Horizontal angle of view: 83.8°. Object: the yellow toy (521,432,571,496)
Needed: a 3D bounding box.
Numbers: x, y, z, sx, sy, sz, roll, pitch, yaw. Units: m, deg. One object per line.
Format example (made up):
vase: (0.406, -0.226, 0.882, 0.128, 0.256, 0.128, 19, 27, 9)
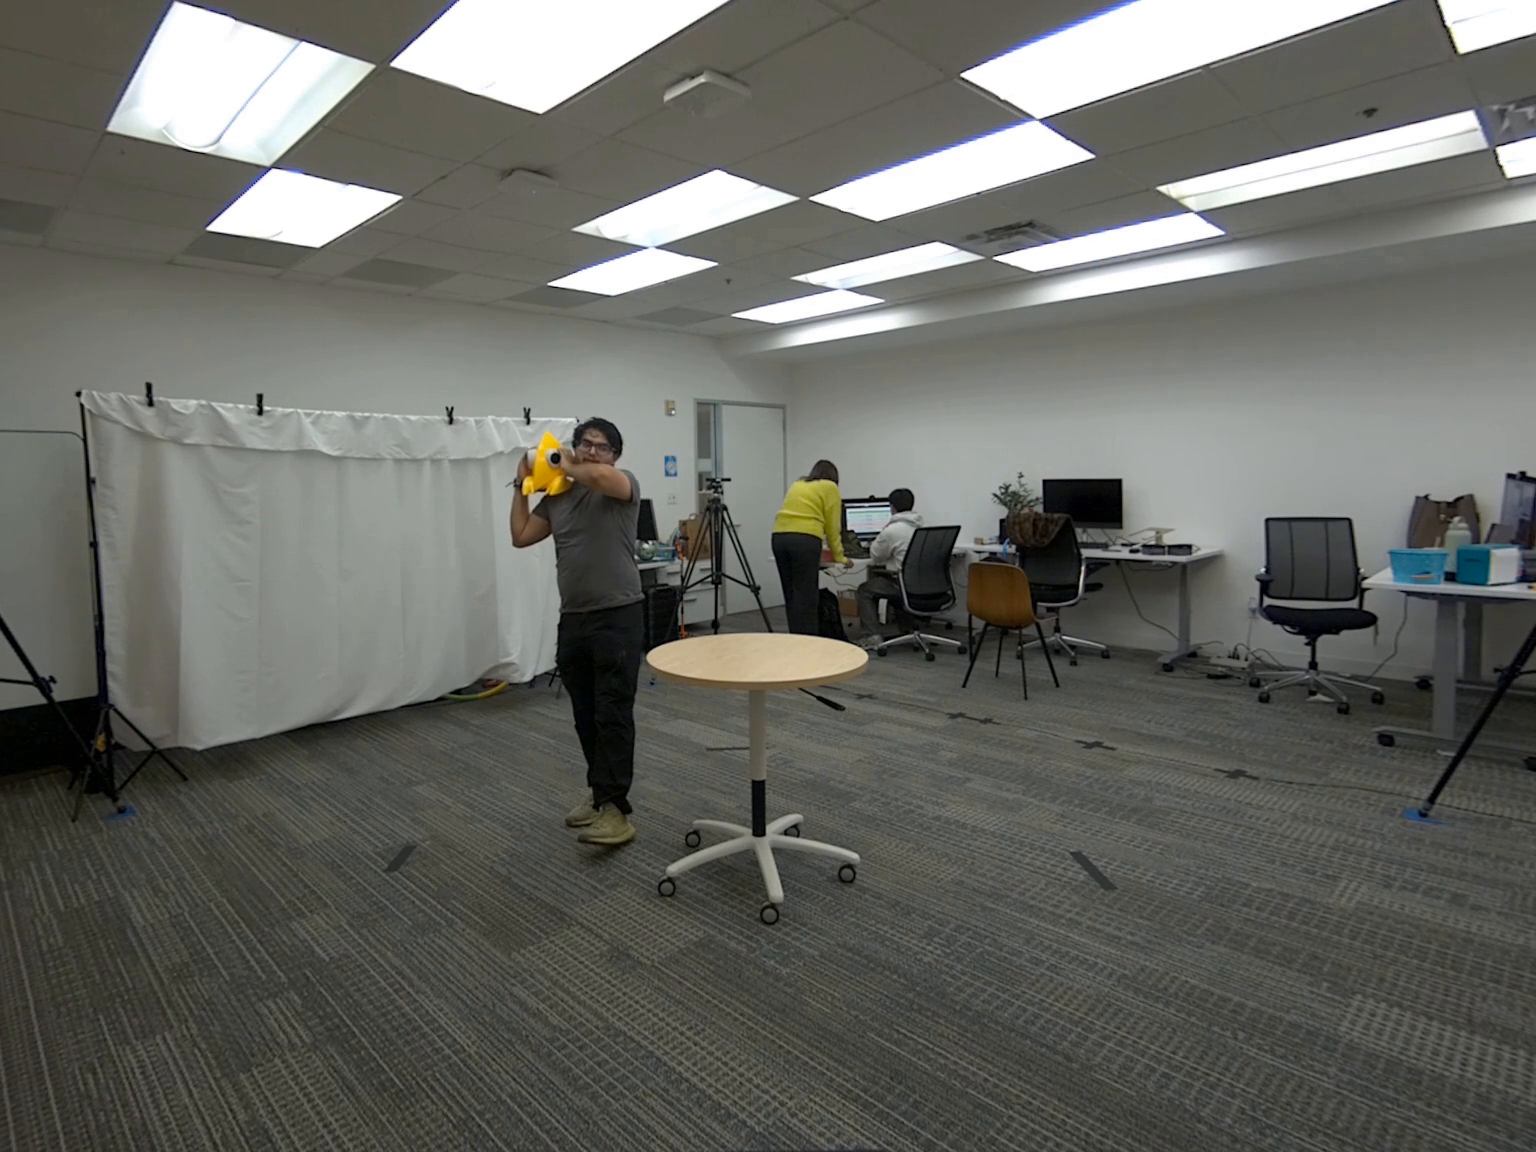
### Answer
yellow toy: (-0.912, -0.471, 3.507, 0.209, 0.226, 0.193, 1, 22, 20)
